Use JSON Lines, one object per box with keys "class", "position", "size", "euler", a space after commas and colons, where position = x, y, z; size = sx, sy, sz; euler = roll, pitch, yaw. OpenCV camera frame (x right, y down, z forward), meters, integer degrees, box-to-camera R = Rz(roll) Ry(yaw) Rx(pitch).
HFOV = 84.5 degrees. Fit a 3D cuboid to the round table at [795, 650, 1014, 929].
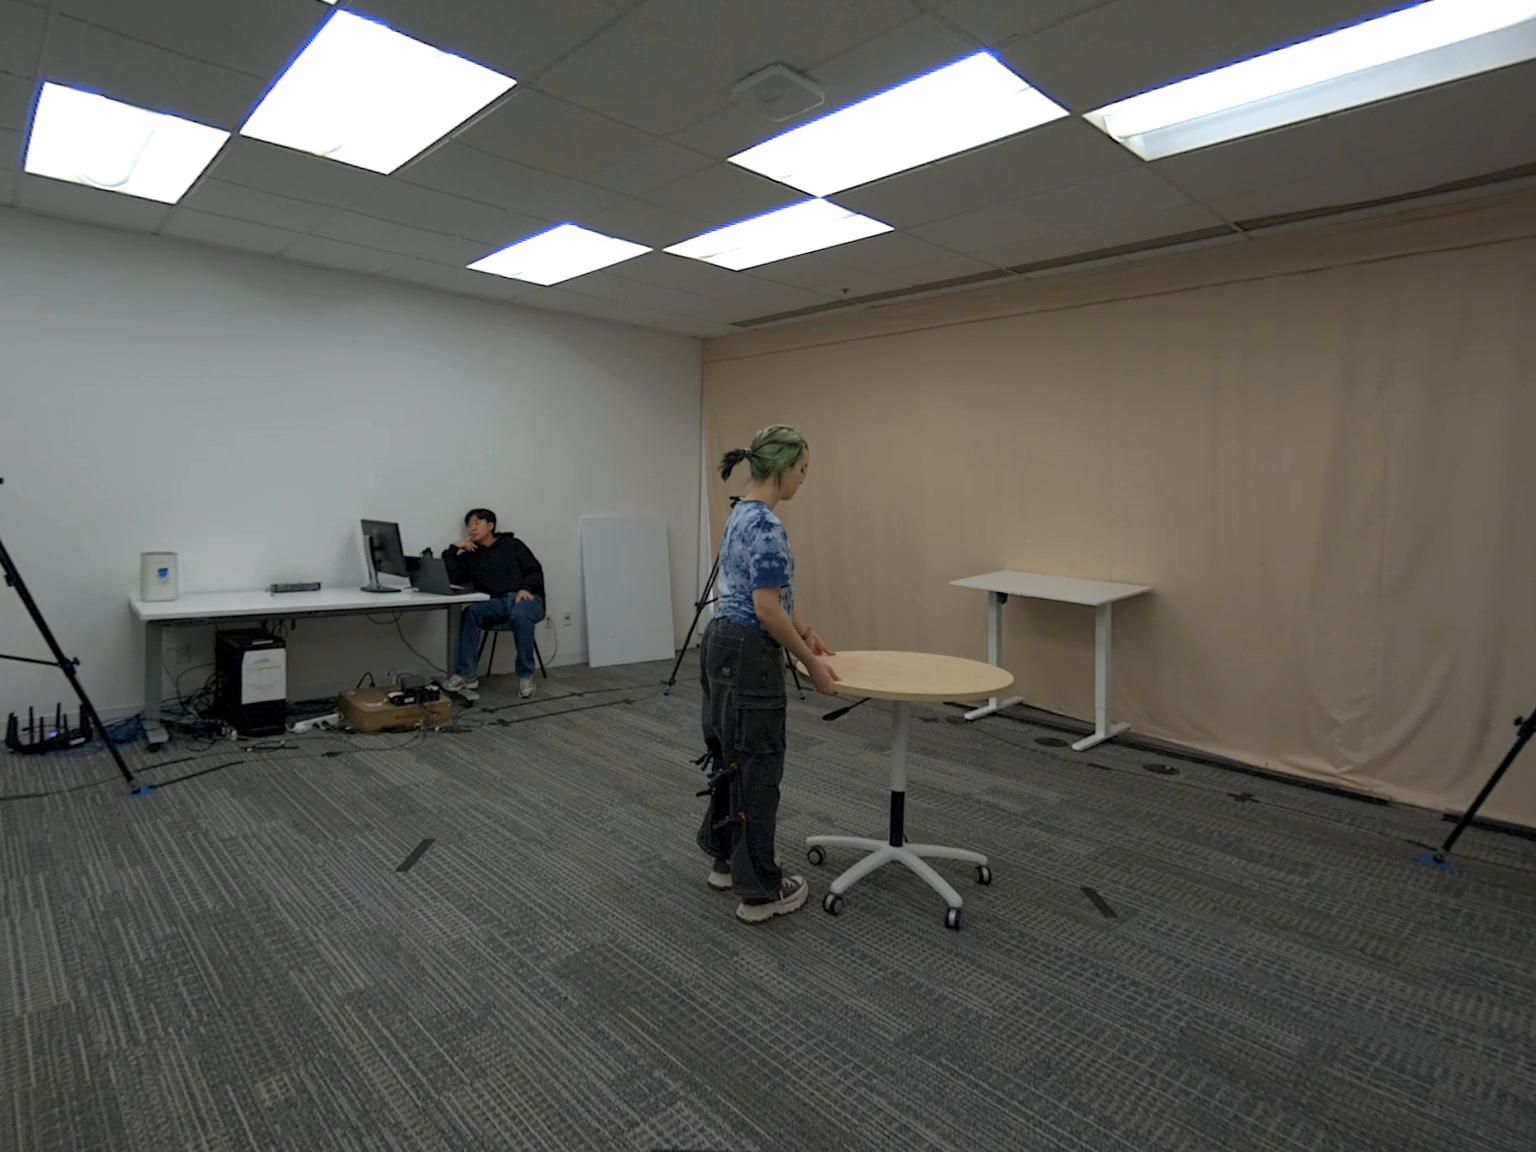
{"class": "round table", "position": [0.464, 0.731, 3.063], "size": [0.763, 0.792, 0.766], "euler": [2, 4, -1]}
